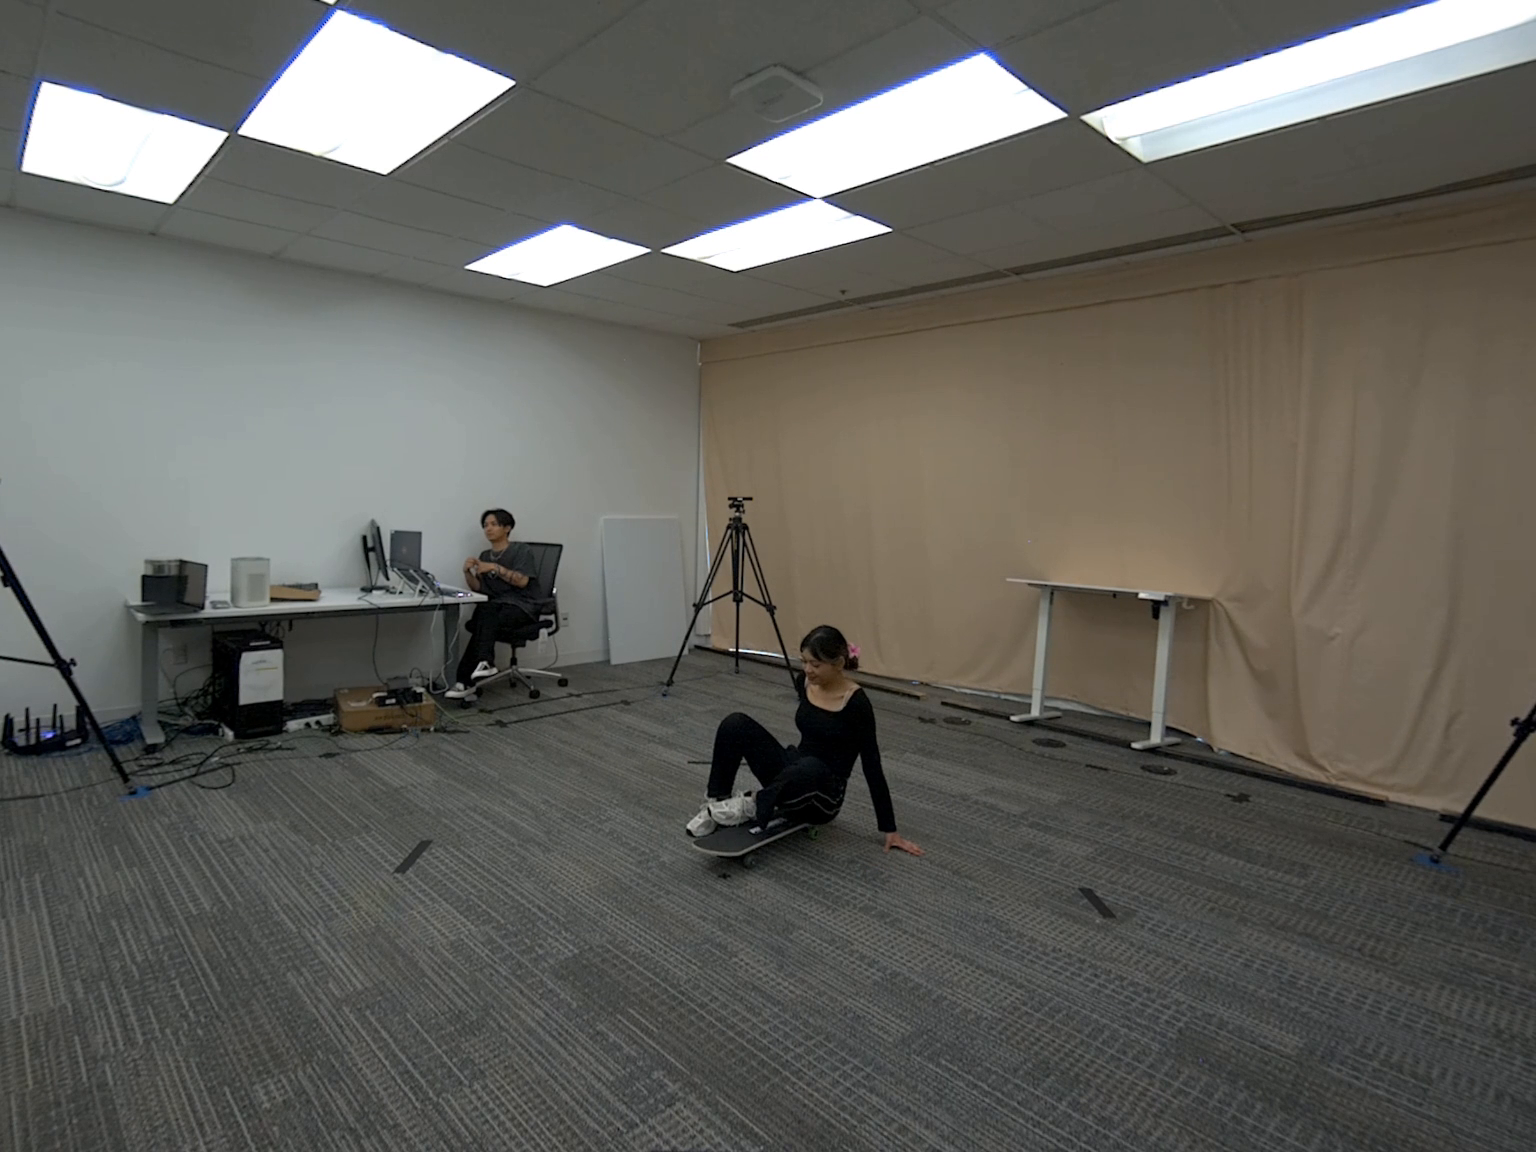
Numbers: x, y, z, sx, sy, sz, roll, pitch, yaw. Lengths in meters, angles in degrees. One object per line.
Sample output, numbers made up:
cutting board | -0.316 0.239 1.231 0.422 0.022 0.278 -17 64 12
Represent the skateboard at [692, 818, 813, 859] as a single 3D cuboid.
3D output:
skateboard | -0.017 1.031 3.373 0.198 0.110 0.768 3 4 39
